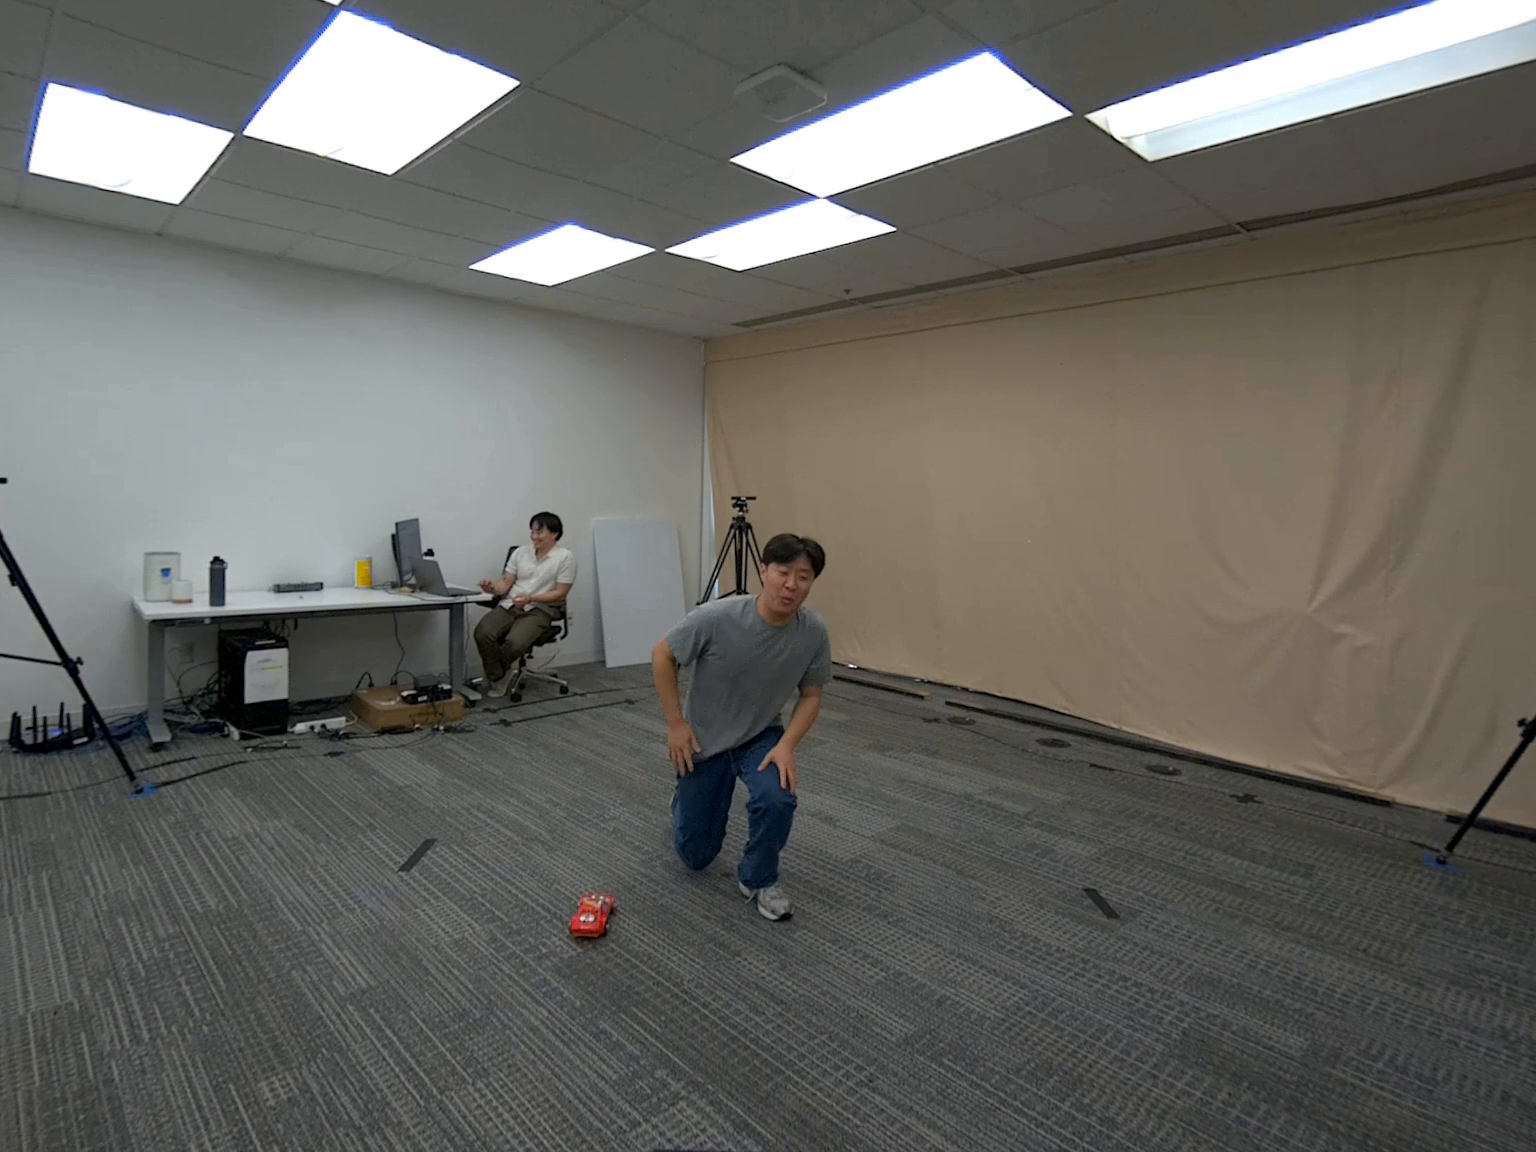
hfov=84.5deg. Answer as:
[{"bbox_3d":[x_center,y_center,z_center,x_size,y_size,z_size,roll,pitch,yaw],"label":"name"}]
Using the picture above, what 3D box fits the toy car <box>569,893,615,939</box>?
[{"bbox_3d":[-0.581,1.103,2.707,0.130,0.083,0.253,1,-6,-1],"label":"toy car"}]
